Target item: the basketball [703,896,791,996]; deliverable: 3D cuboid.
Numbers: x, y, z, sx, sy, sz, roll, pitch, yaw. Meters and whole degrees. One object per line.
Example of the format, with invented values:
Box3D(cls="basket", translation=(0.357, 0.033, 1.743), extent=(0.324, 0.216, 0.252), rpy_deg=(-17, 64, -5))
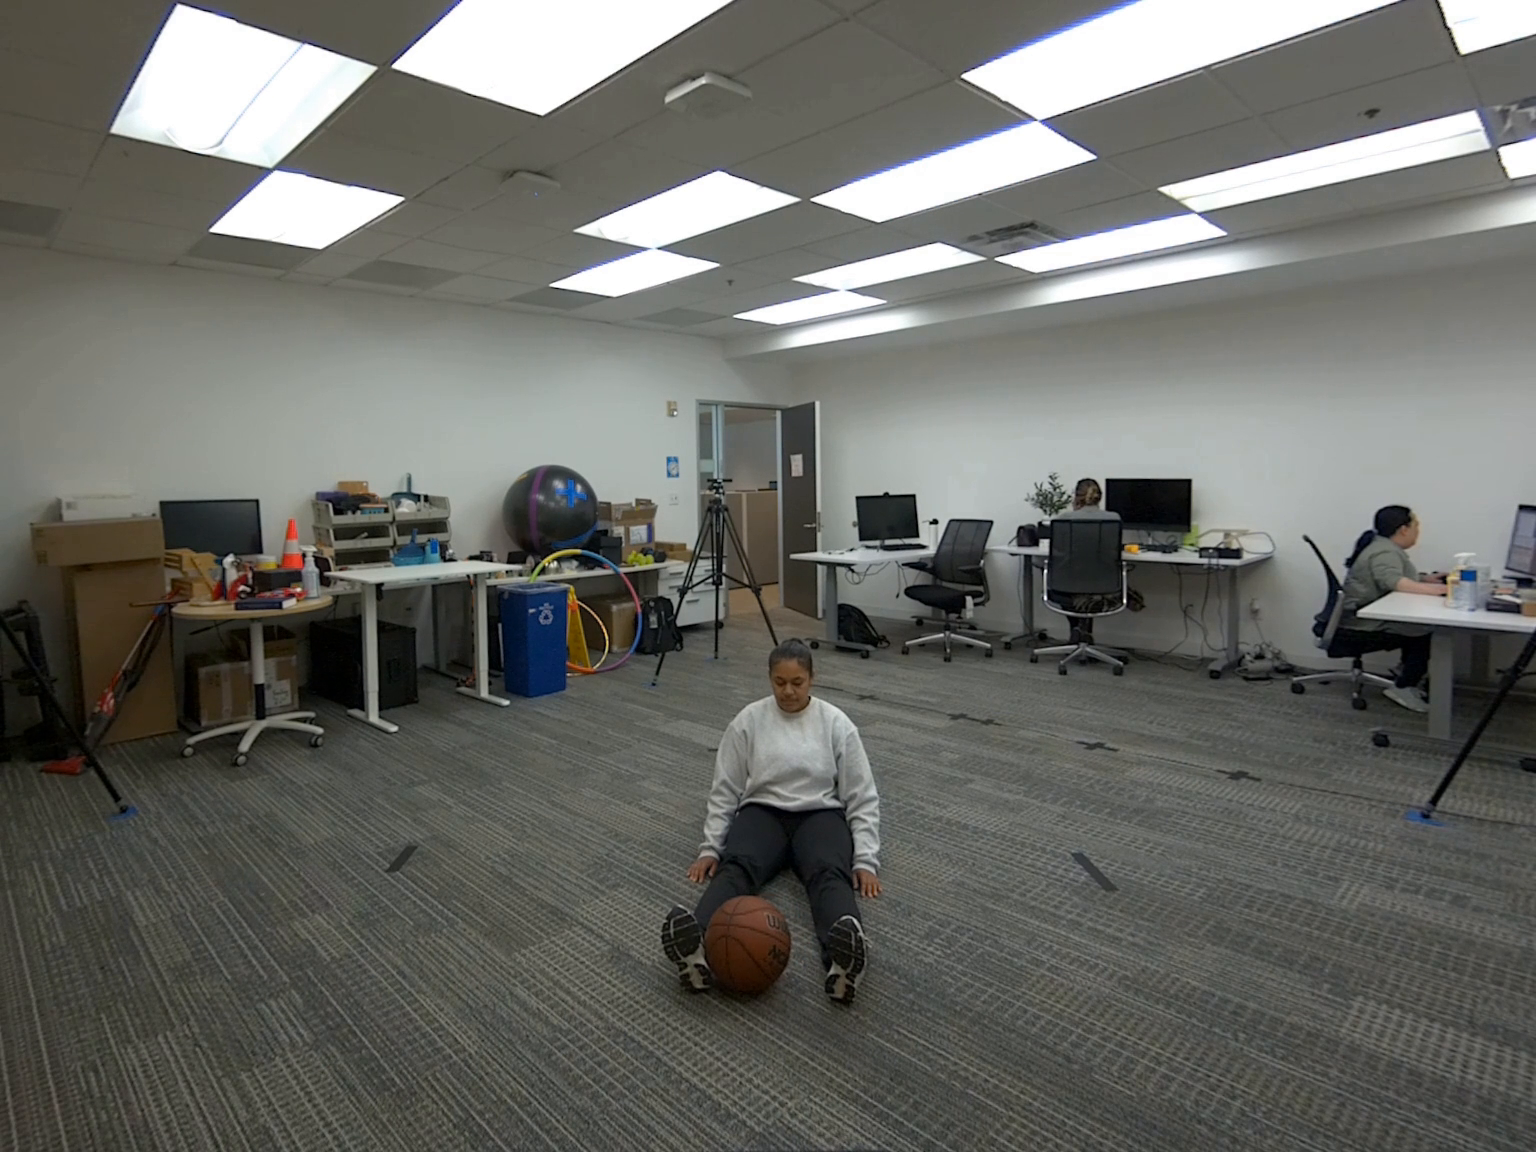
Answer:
Box3D(cls="basketball", translation=(-0.048, 1.022, 2.357), extent=(0.236, 0.235, 0.237), rpy_deg=(-1, 5, -2))
